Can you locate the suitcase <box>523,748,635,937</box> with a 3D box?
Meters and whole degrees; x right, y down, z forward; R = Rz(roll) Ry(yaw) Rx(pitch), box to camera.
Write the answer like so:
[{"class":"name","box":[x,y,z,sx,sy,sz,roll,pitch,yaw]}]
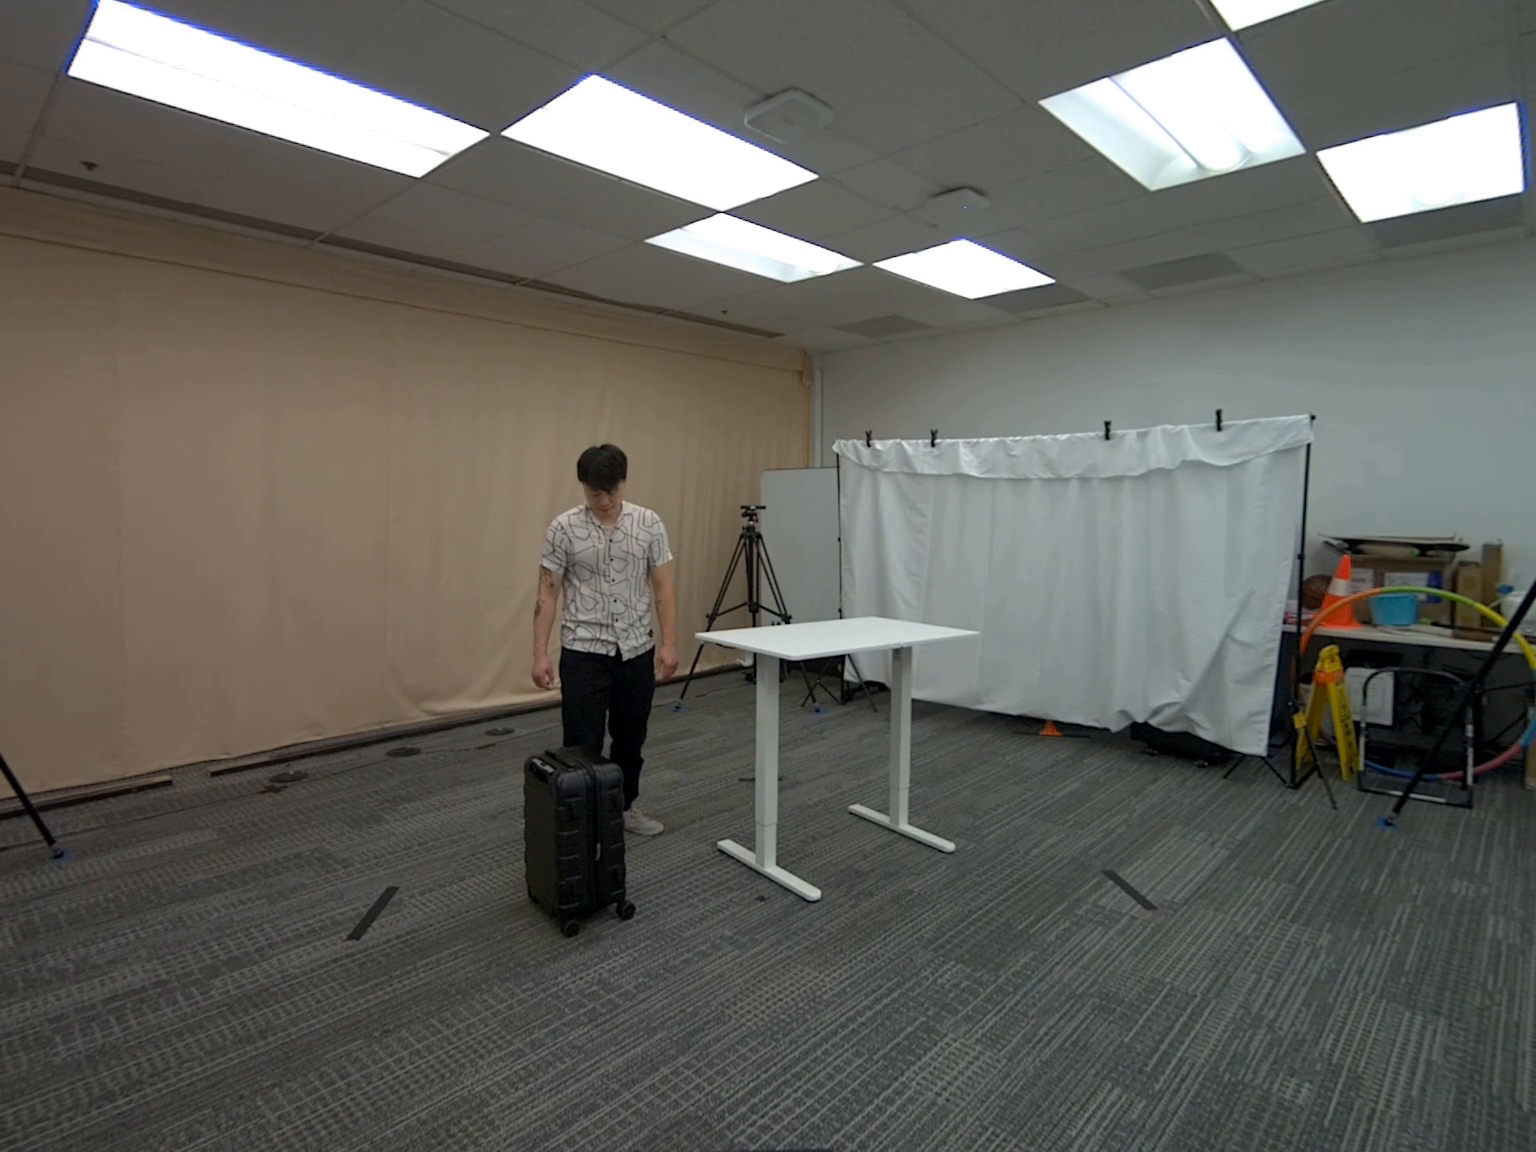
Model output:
[{"class":"suitcase","box":[-0.667,0.880,2.889,0.241,0.548,0.387,-4,5,-38]}]
